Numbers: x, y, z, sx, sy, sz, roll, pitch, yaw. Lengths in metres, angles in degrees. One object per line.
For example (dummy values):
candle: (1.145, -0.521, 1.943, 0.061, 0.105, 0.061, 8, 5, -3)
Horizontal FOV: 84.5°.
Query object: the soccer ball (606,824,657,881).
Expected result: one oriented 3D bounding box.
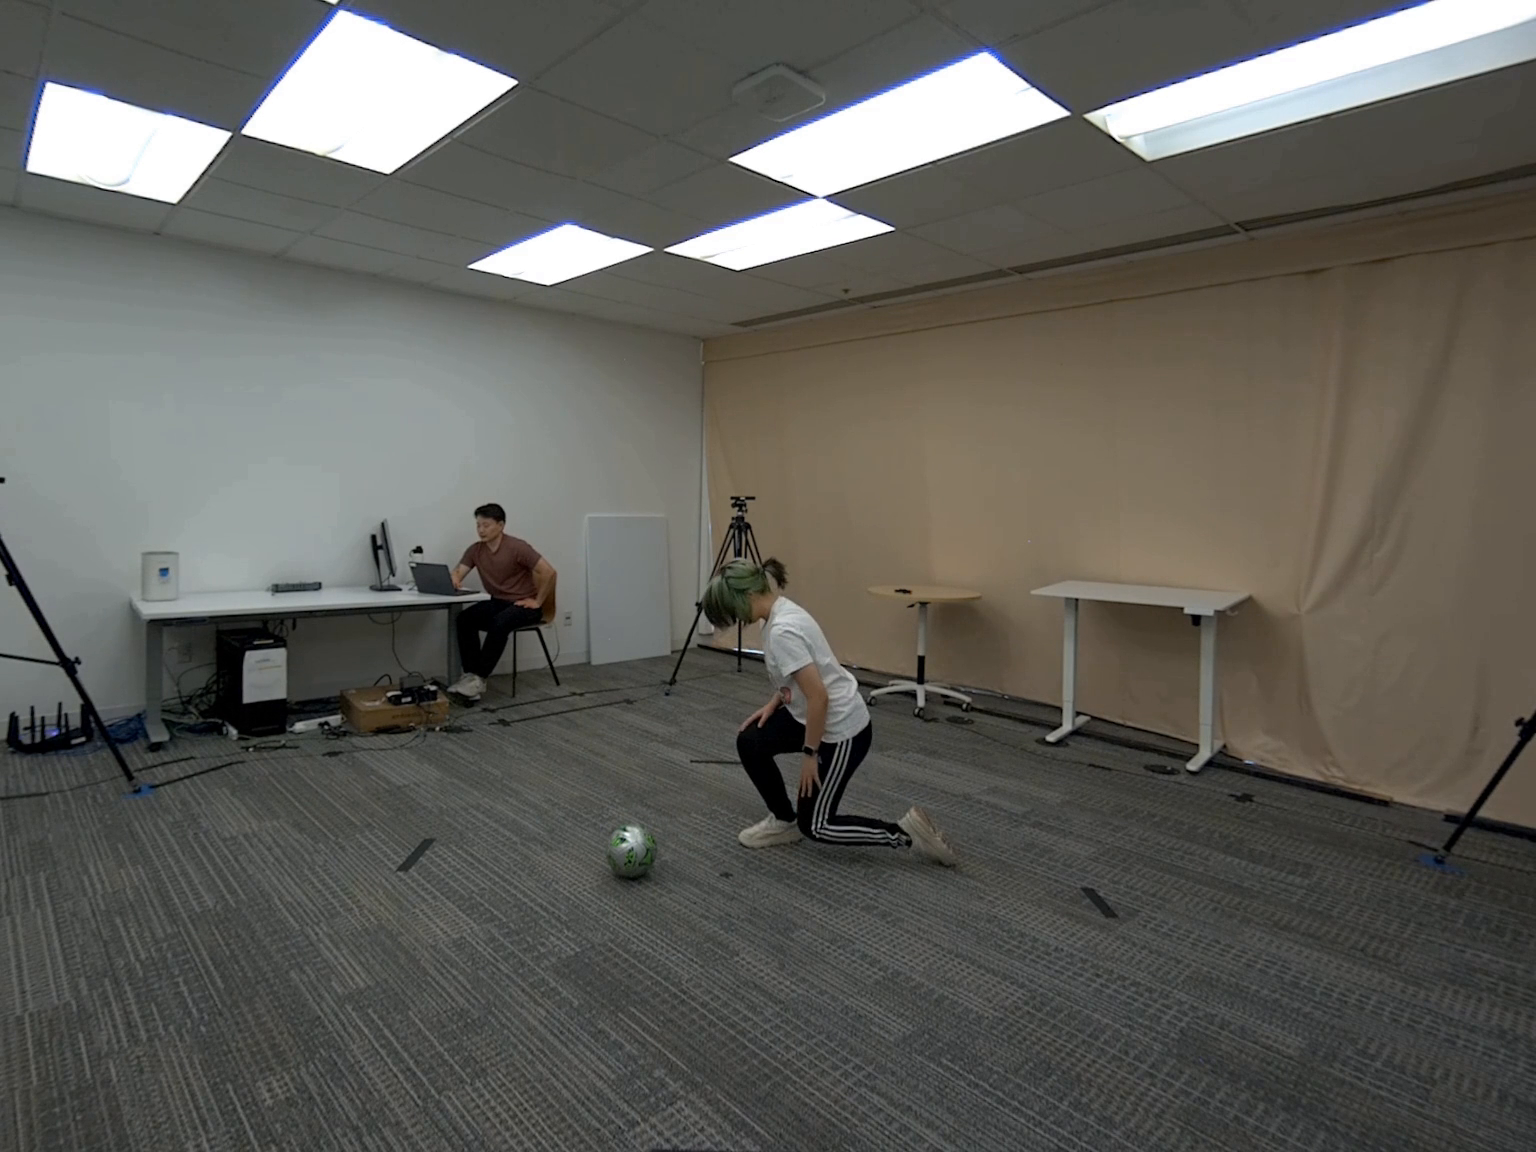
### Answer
soccer ball: (-0.504, 1.008, 3.079, 0.187, 0.187, 0.188, 1, 4, -1)
